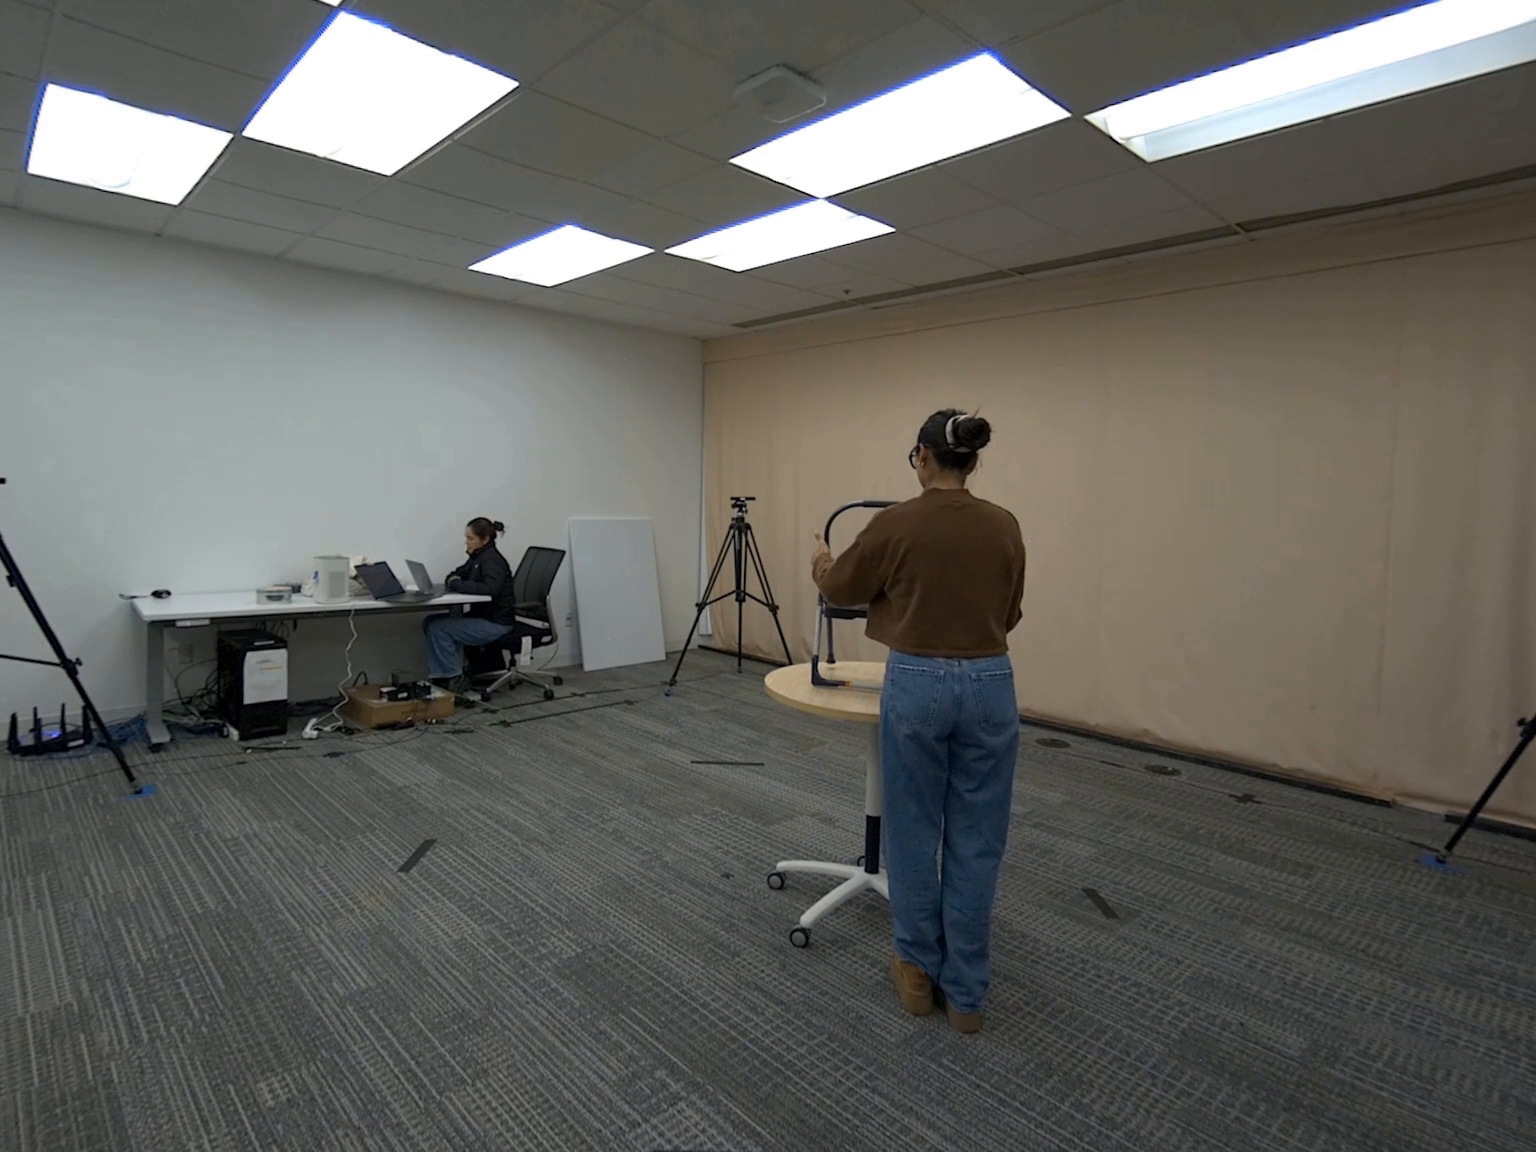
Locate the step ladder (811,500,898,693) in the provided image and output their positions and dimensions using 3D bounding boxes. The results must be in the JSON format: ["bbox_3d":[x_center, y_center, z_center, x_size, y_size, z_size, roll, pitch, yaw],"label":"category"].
[{"bbox_3d":[0.395,0.052,2.802,0.436,0.603,0.346,3,7,16],"label":"step ladder"}]
